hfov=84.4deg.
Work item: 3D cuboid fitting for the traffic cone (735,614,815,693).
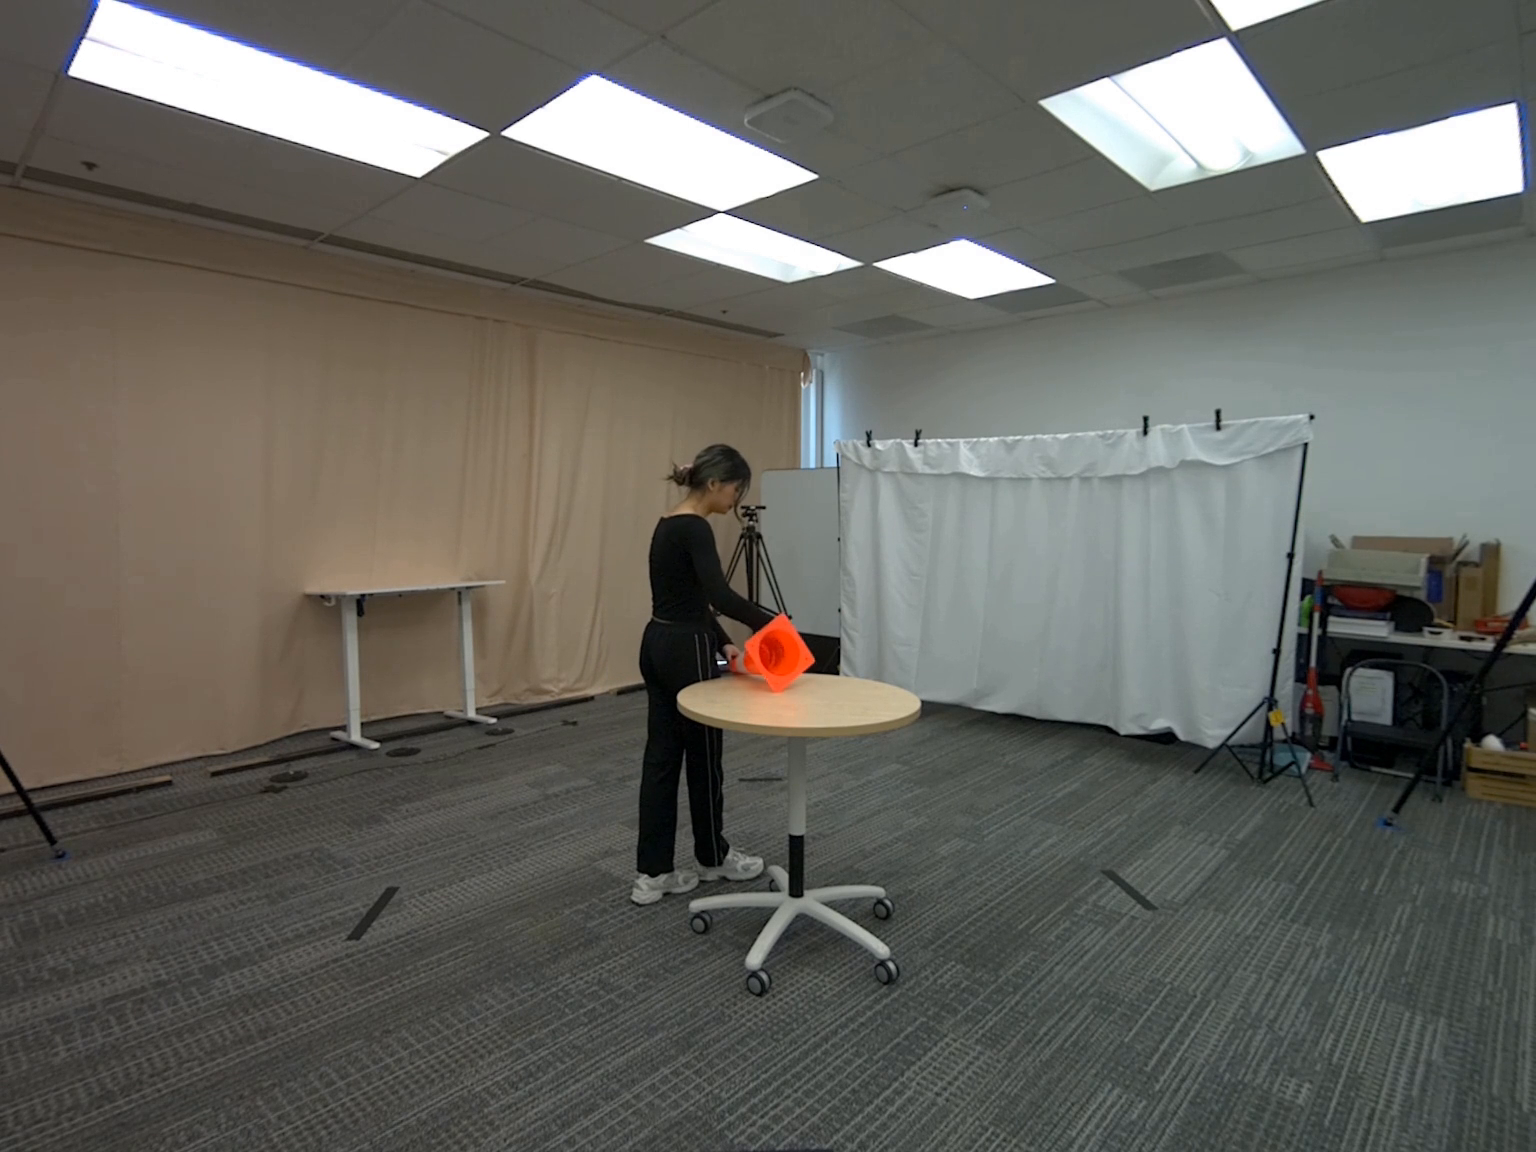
[{"bbox_3d":[-0.039,0.296,2.940,0.202,0.203,0.389,-33,2,-28],"label":"traffic cone"}]
